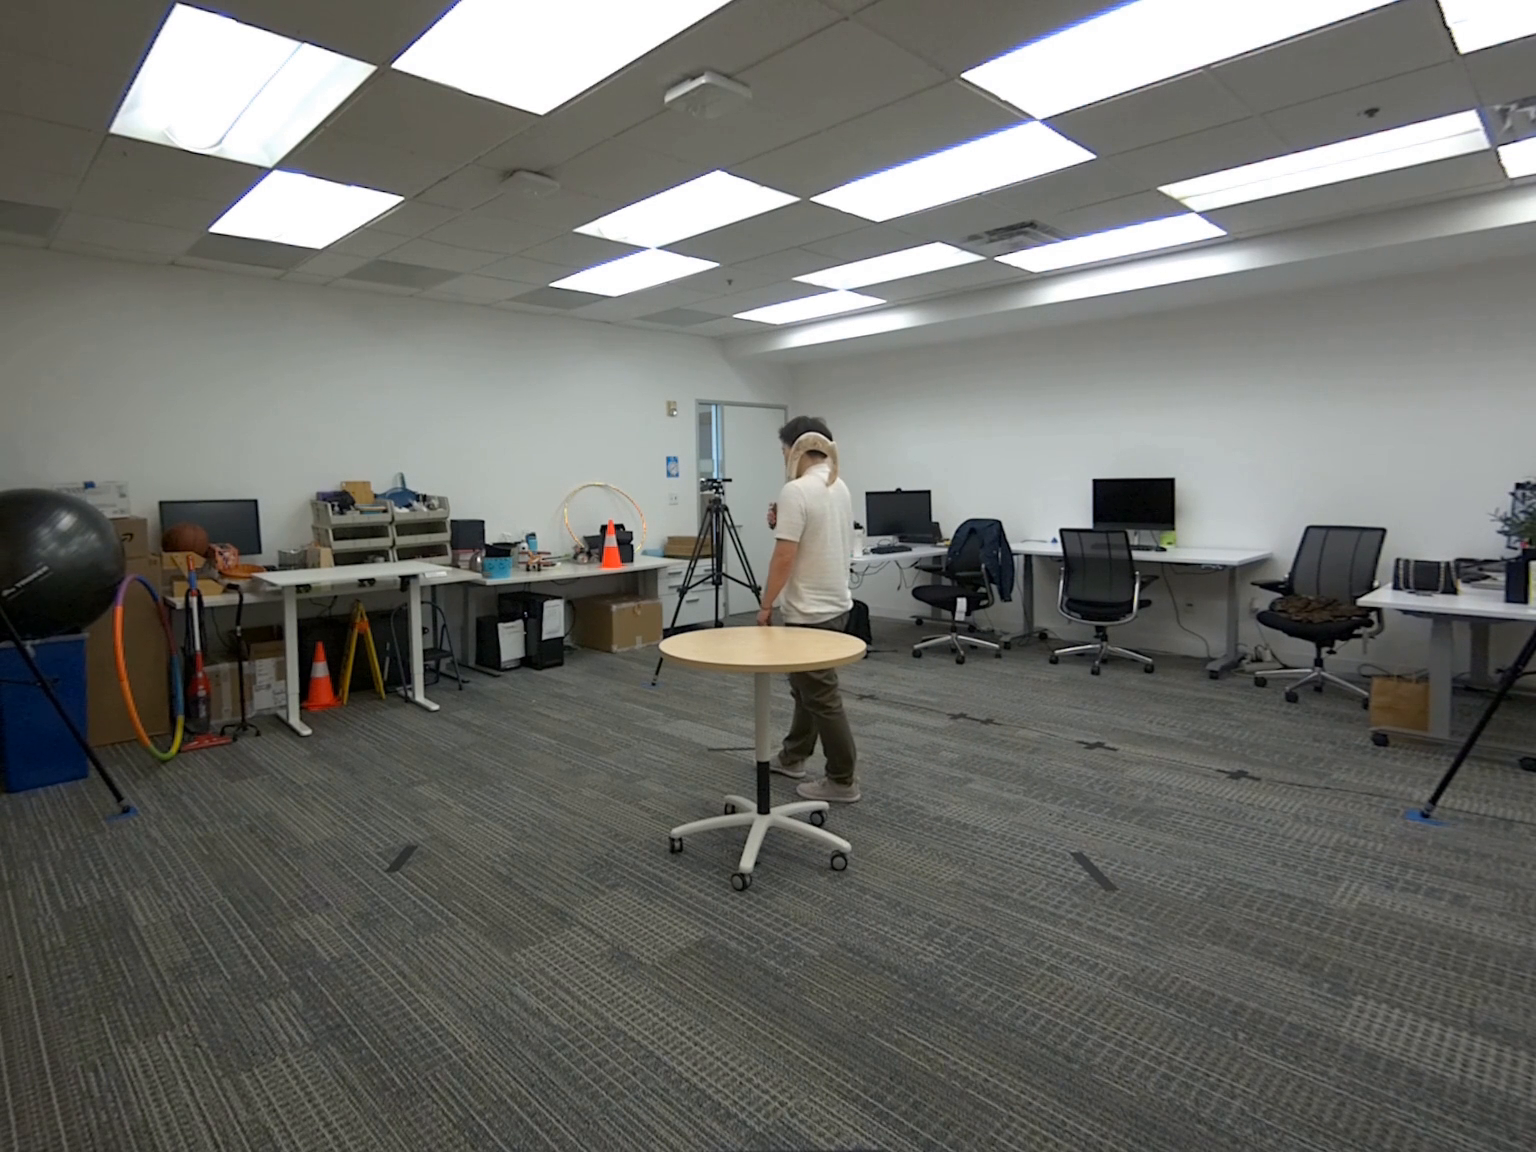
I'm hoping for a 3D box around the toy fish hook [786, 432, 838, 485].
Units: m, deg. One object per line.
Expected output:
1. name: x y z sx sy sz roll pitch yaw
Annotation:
1. toy fish hook: 0.152 -0.384 3.698 0.230 0.501 0.048 34 30 17
